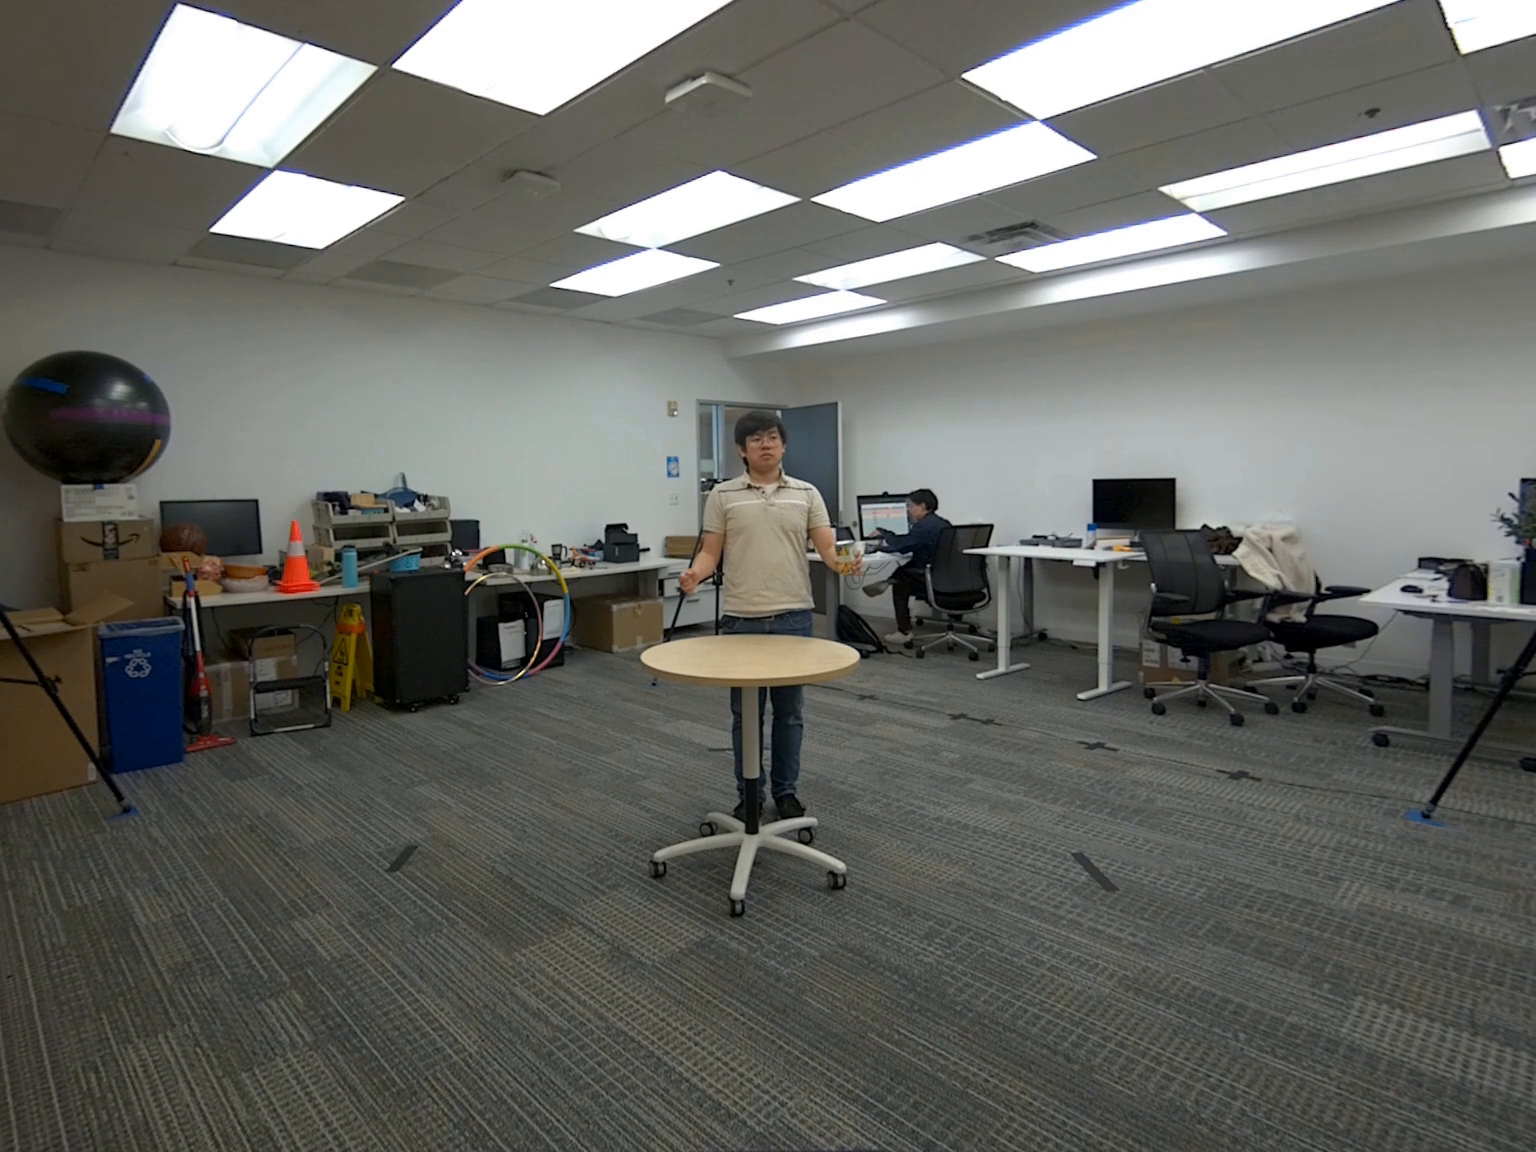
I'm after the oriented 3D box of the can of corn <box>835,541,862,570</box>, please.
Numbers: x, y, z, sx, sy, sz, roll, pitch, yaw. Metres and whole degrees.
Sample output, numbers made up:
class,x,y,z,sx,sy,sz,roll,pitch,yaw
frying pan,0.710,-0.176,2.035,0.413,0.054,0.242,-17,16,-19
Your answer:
class,x,y,z,sx,sy,sz,roll,pitch,yaw
can of corn,0.300,-0.064,3.138,0.074,0.110,0.074,0,6,-2
